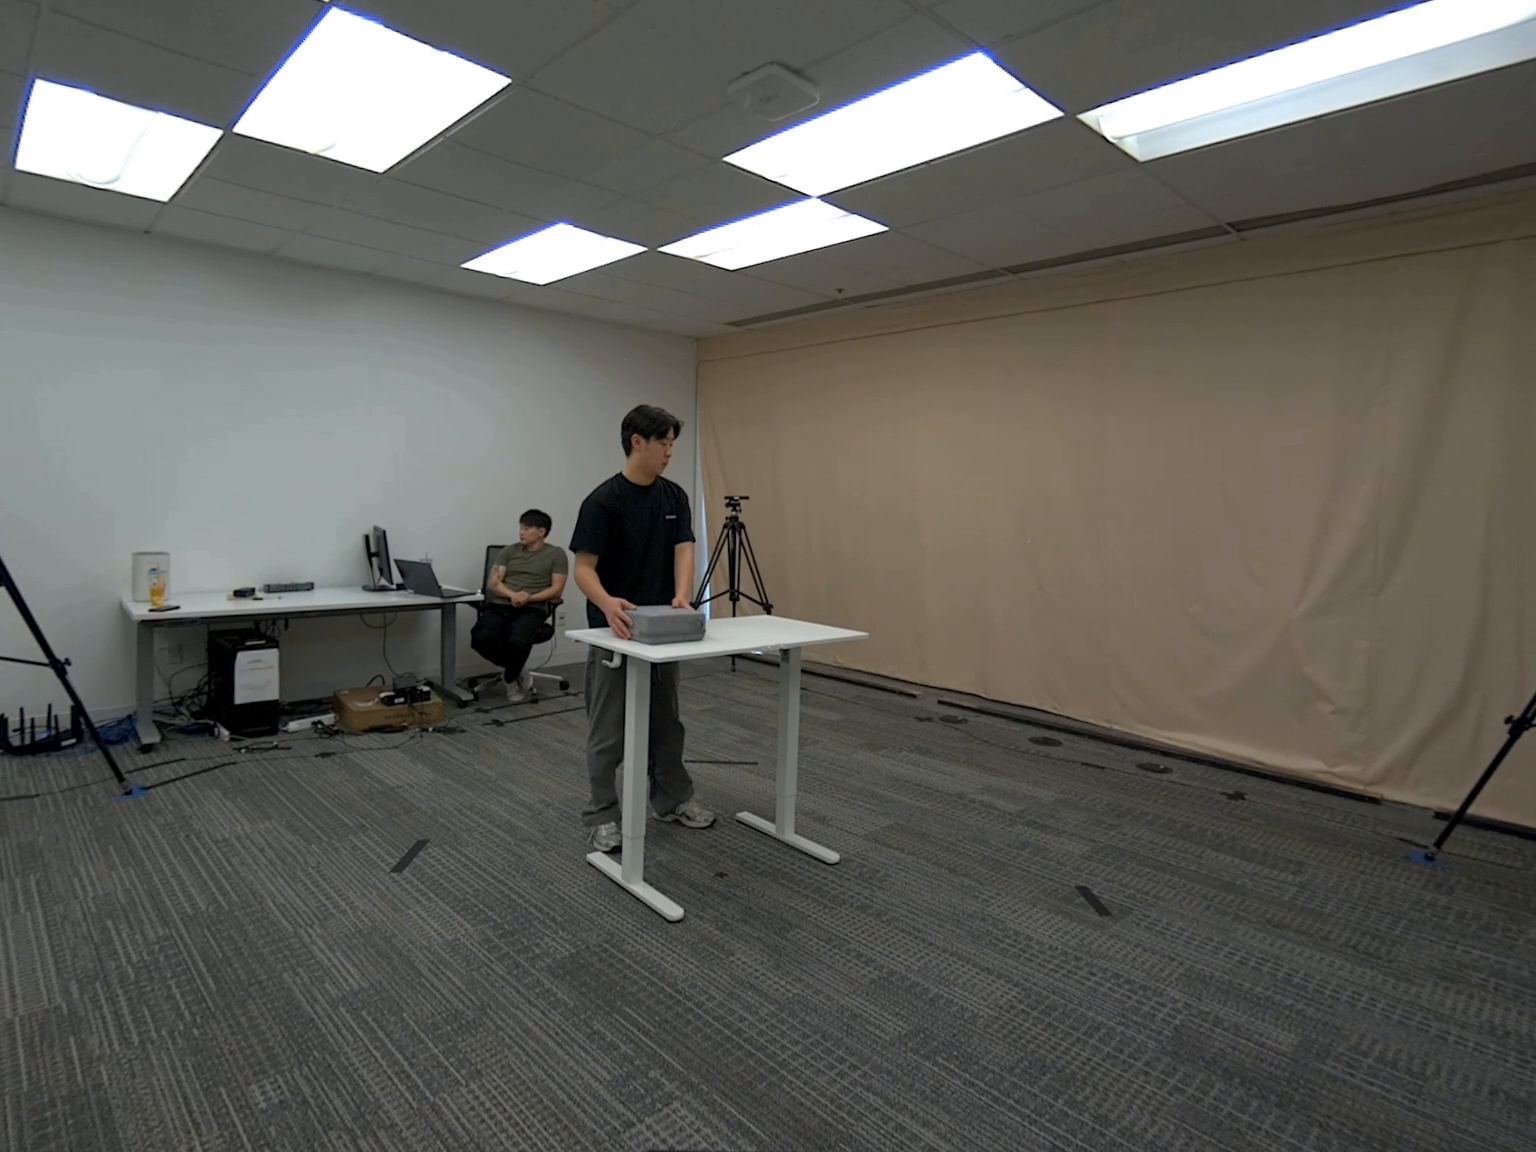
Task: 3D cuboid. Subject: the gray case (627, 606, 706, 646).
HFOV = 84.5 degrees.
[{"bbox_3d":[-0.374,0.171,3.005,0.281,0.103,0.270,-2,6,-38],"label":"gray case"}]
